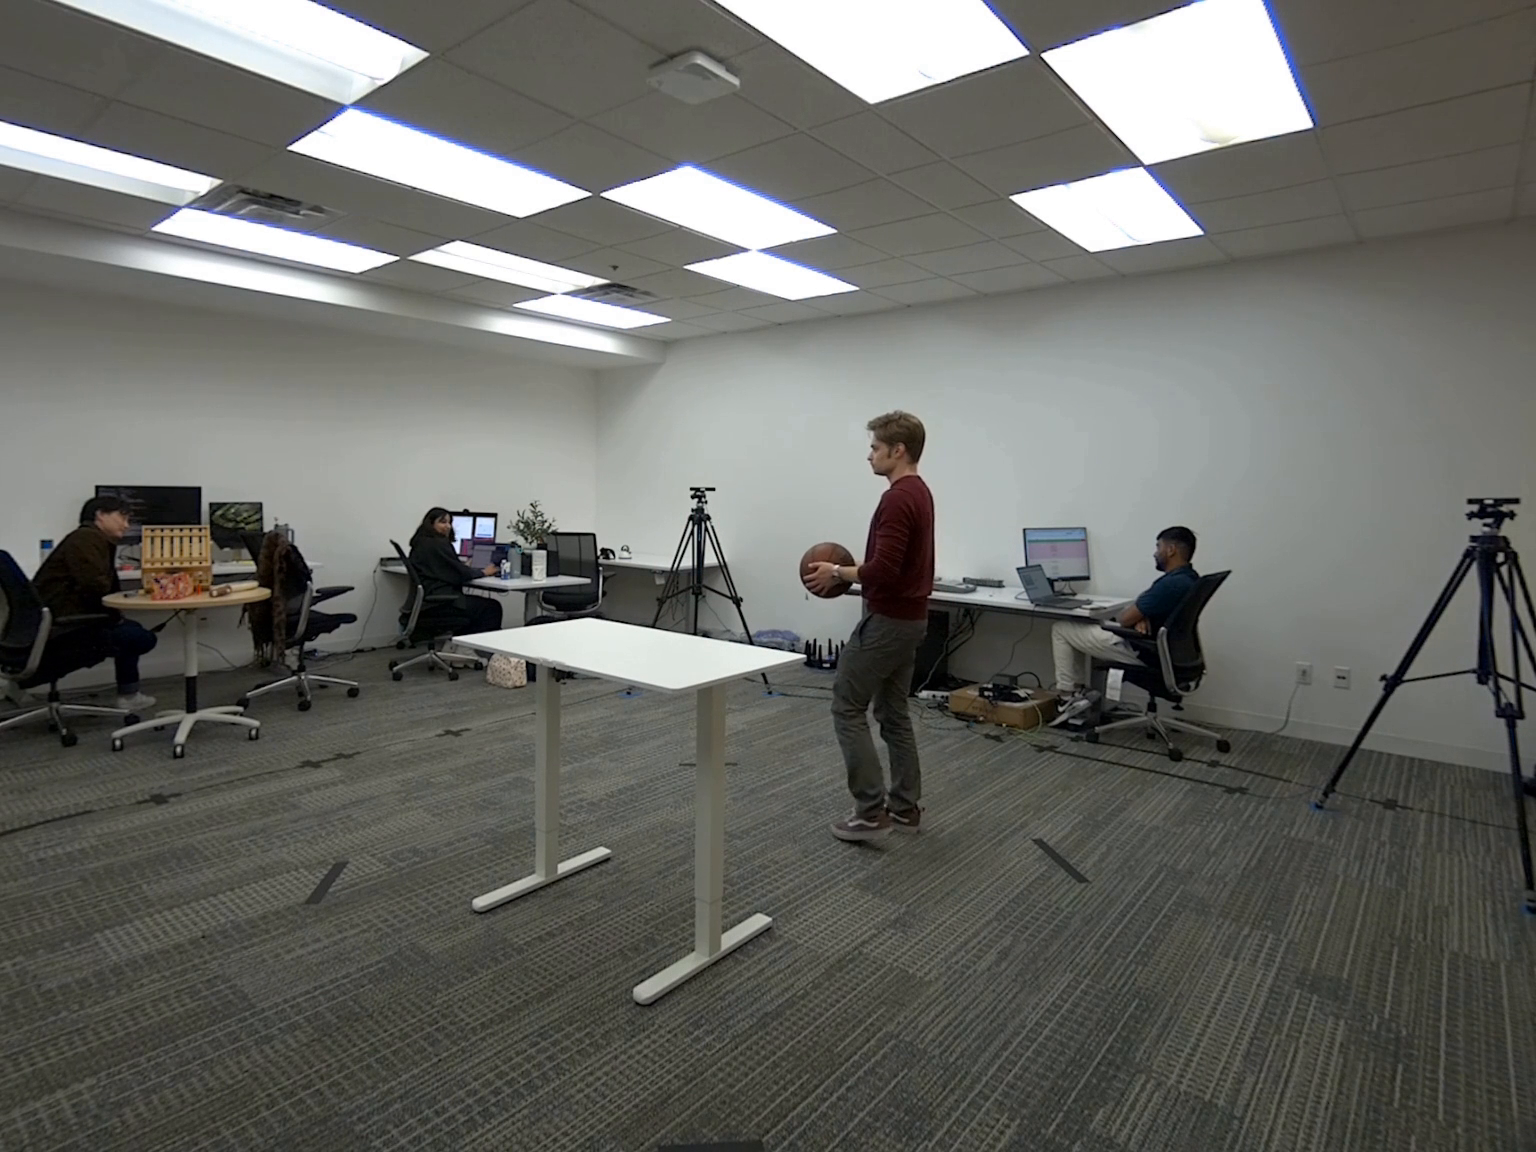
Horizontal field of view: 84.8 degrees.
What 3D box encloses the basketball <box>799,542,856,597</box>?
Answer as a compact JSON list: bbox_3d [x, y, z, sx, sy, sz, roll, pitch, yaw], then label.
[{"bbox_3d":[0.252,-0.030,3.619,0.235,0.235,0.237,1,4,-2],"label":"basketball"}]
